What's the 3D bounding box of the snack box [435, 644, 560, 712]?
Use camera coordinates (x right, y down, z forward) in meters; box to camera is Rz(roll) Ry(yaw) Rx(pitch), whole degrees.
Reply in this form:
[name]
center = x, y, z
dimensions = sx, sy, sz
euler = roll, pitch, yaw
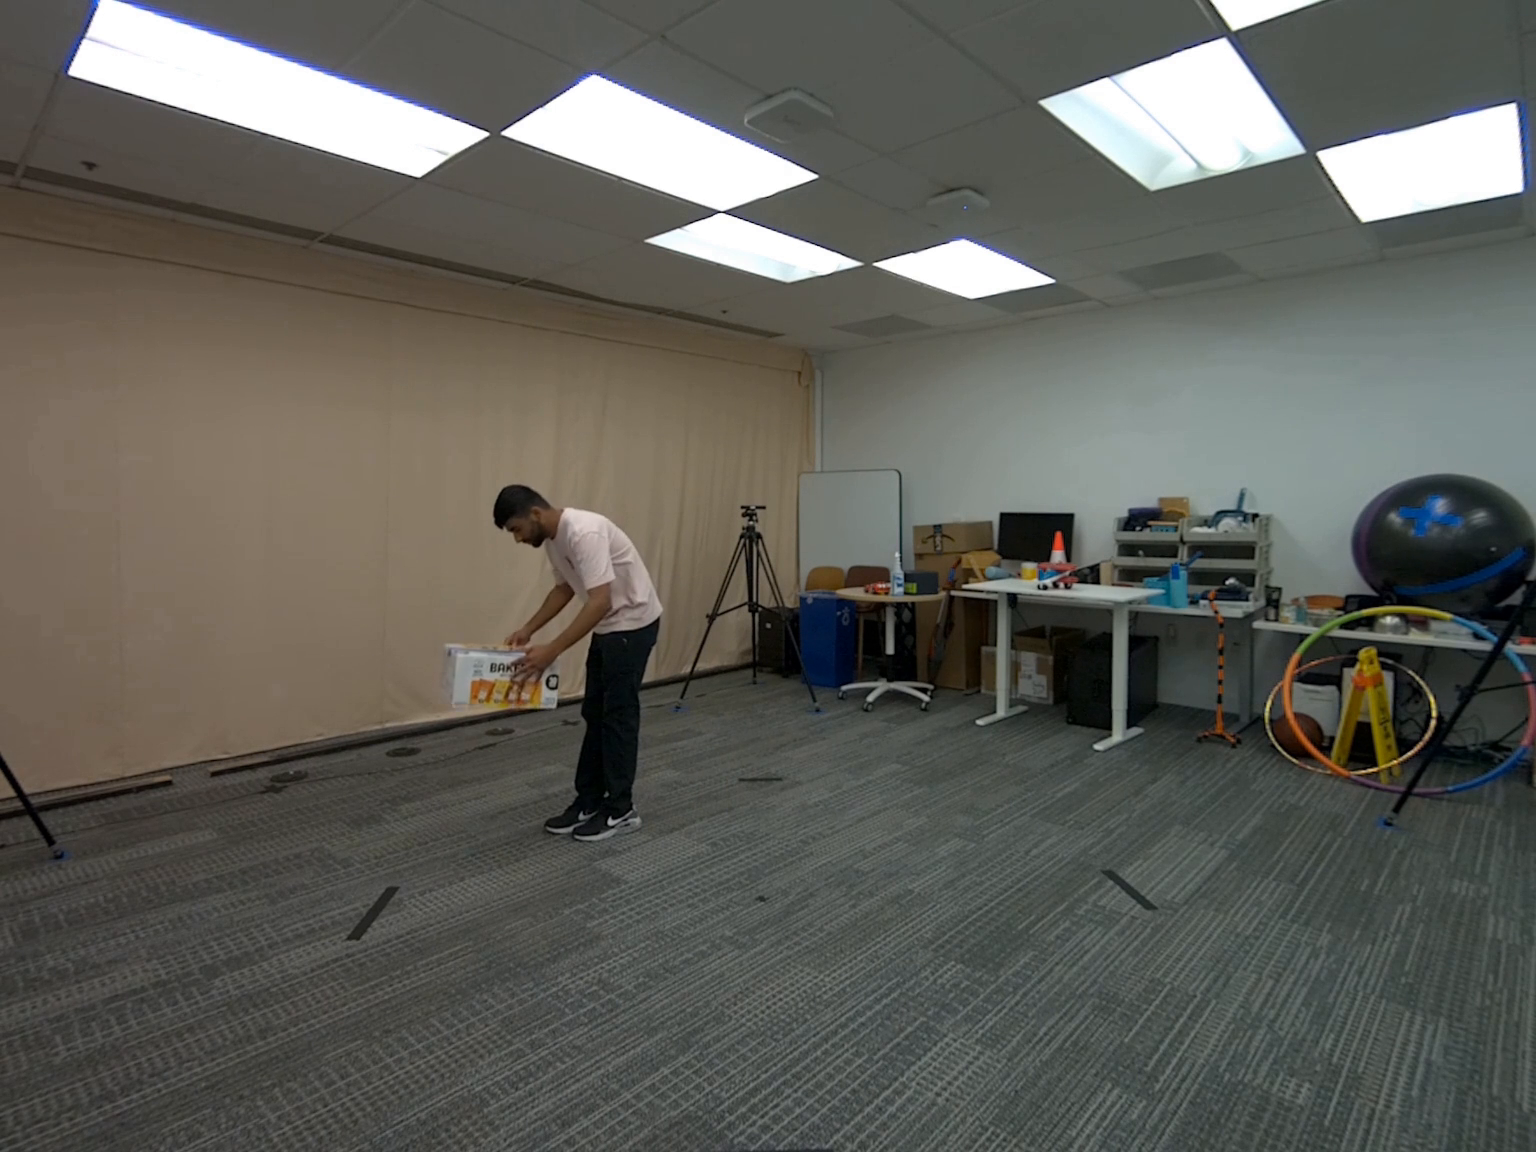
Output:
[snack box]
center = -1.091, 0.405, 3.398
dimensions = 0.394, 0.206, 0.350
euler = 5, 1, -28
